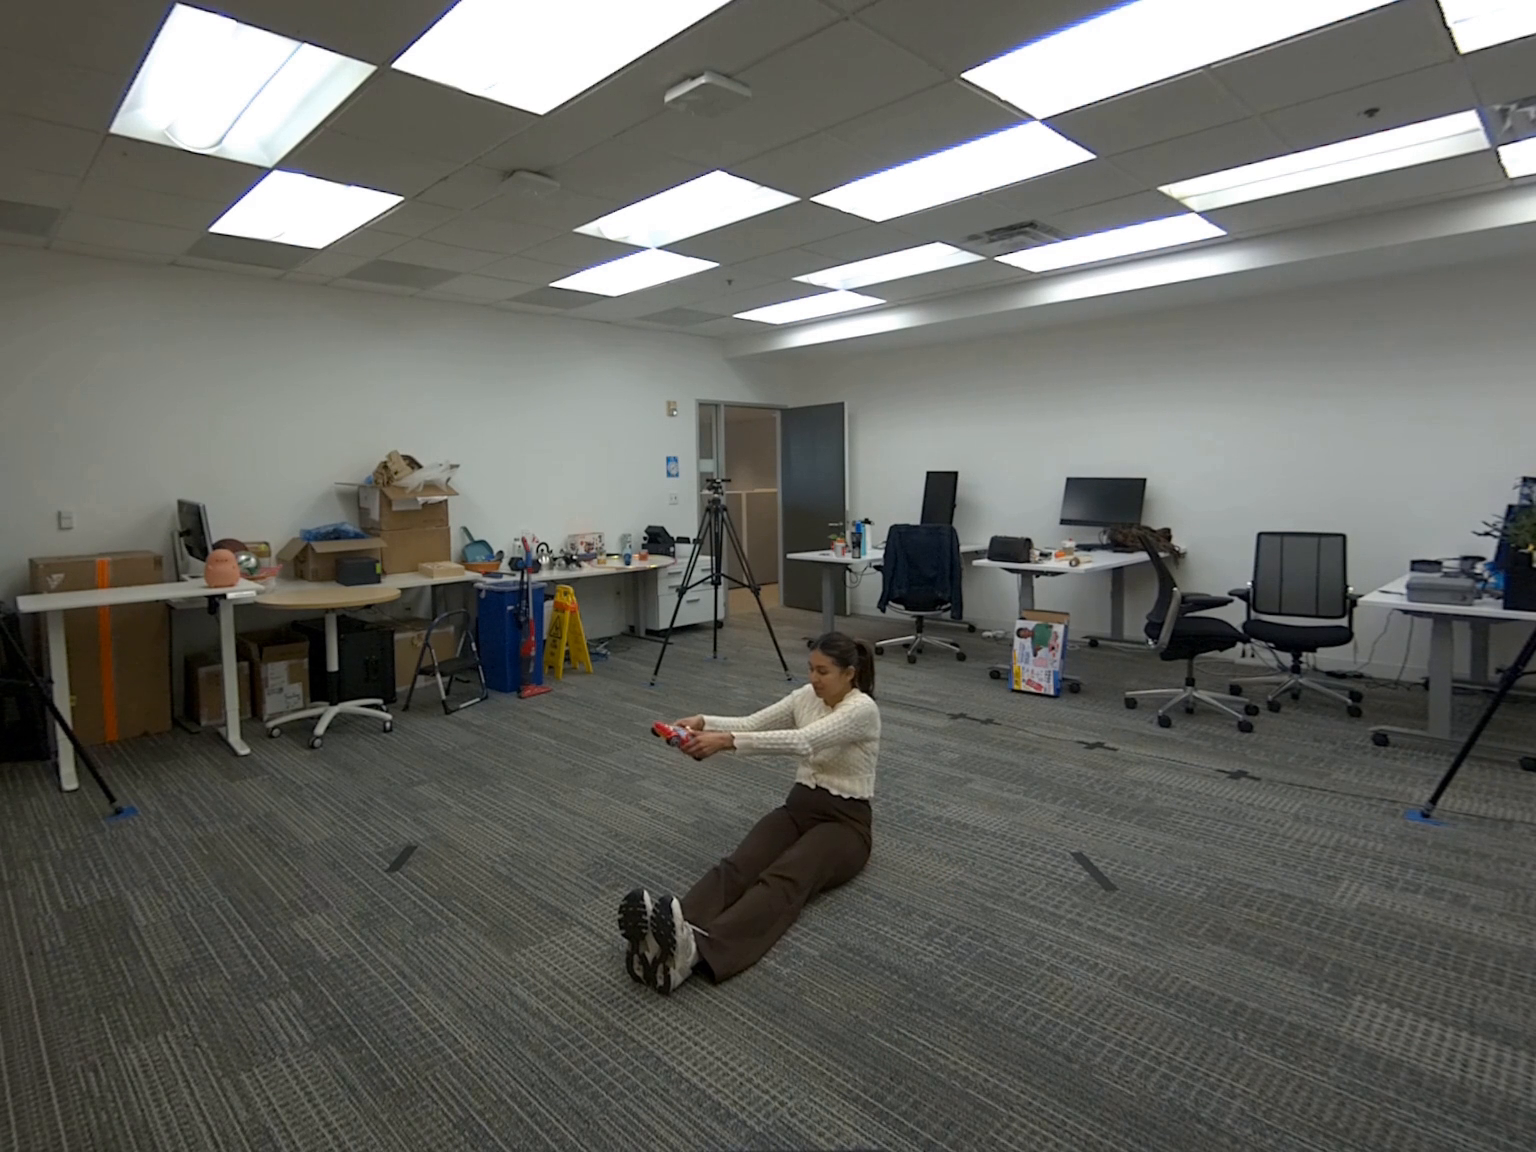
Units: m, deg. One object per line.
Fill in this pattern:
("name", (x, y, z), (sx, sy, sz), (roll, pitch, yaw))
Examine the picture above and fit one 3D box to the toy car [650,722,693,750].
("toy car", (-0.280, 0.580, 2.980), (0.135, 0.083, 0.245), (18, -5, 45))
